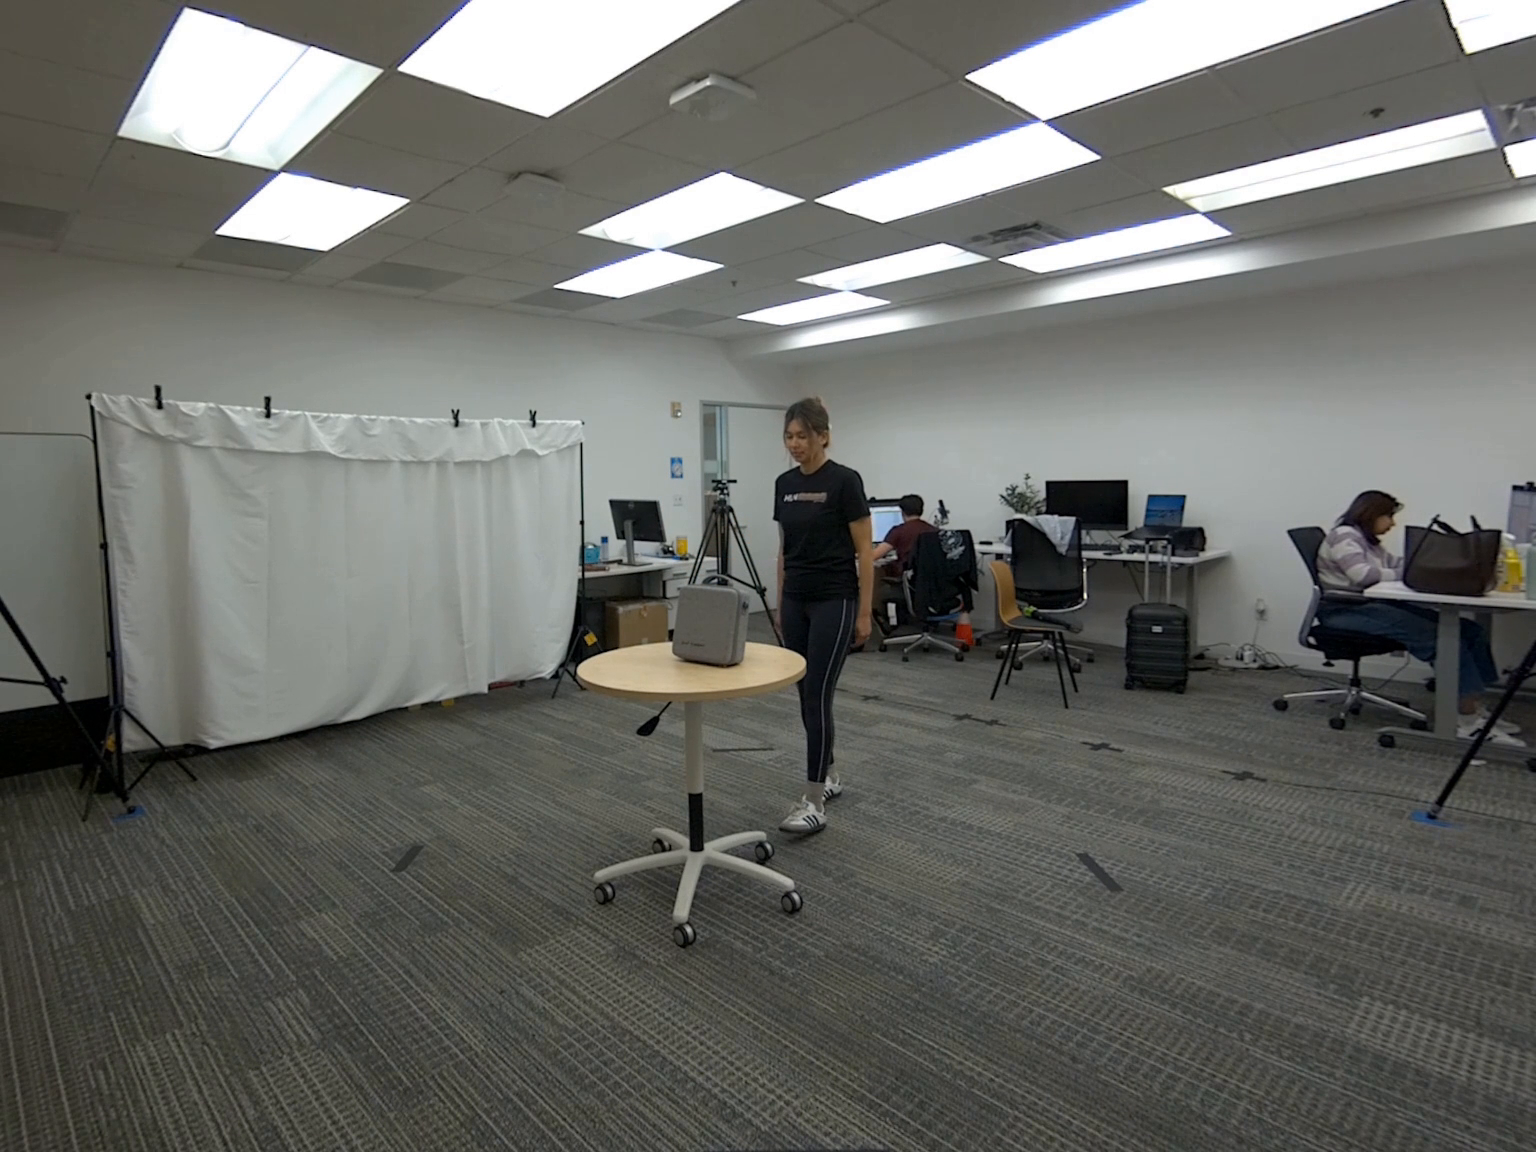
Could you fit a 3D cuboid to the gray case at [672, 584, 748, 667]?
[{"bbox_3d":[-0.192,0.158,2.891,0.264,0.262,0.101,4,-6,36],"label":"gray case"}]
